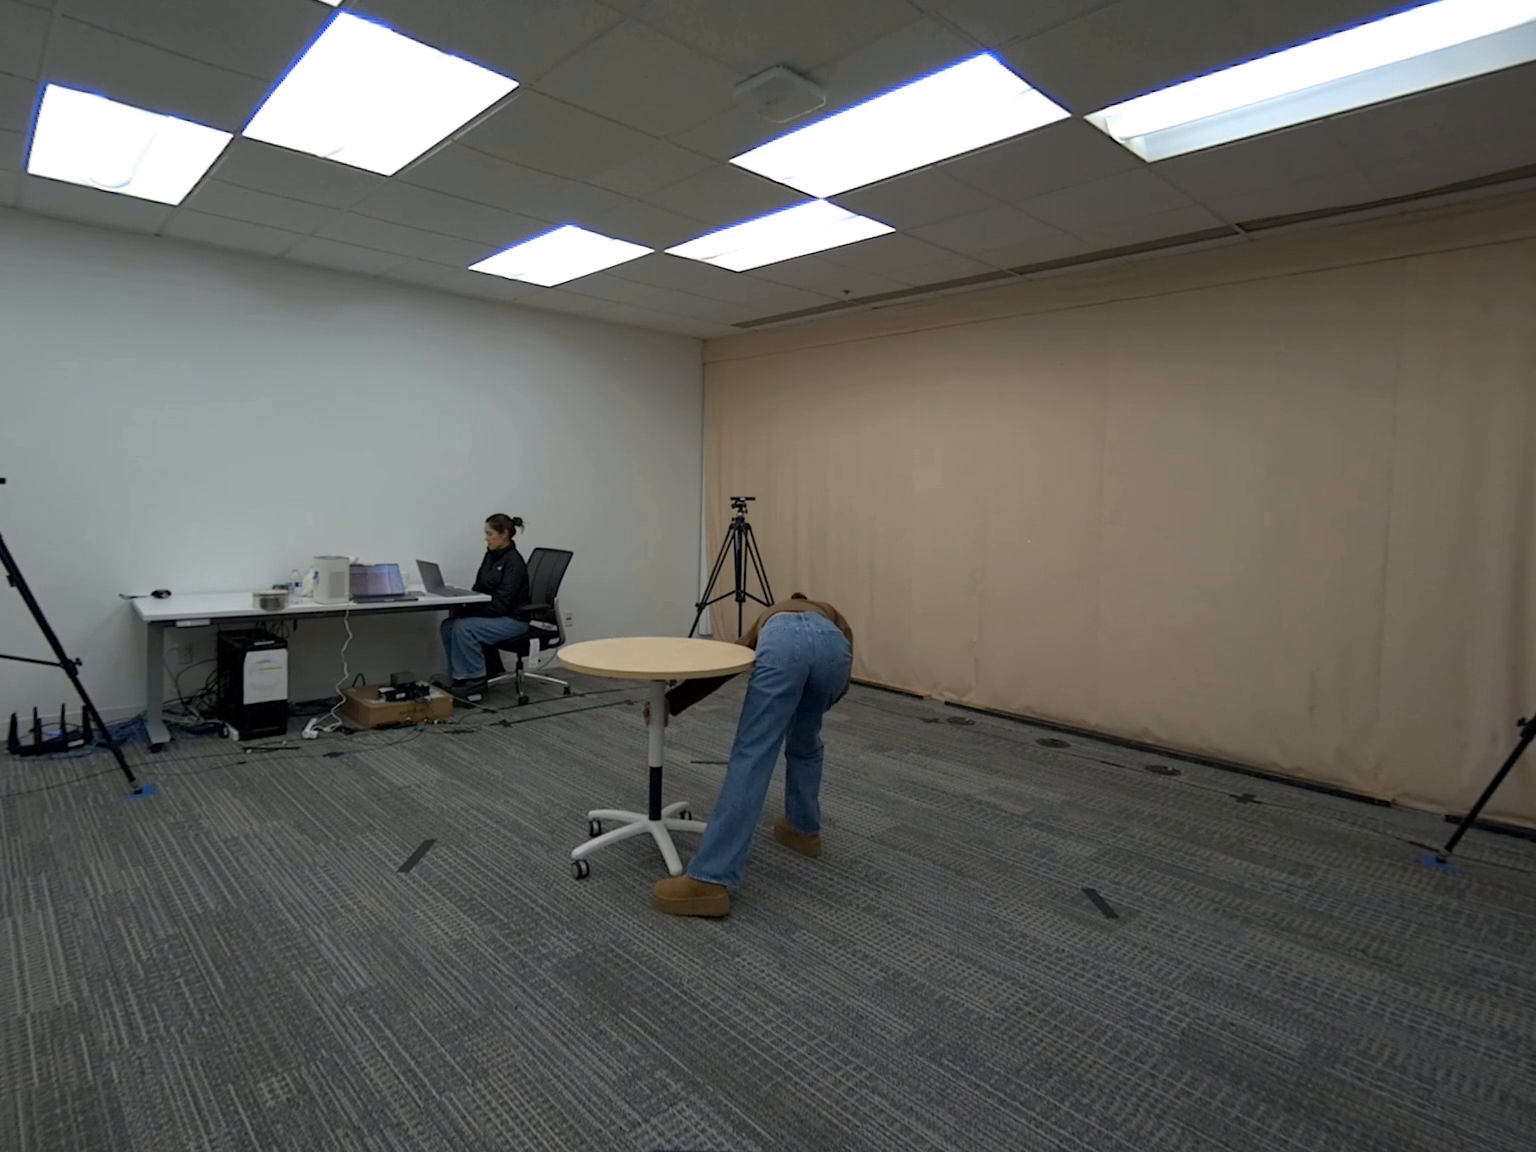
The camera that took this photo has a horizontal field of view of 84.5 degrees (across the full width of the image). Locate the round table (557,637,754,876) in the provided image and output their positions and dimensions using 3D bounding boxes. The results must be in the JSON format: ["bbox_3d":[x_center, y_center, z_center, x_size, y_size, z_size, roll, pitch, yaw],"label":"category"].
[{"bbox_3d":[-0.444,0.696,3.262,0.763,0.792,0.766,1,3,-1],"label":"round table"}]
